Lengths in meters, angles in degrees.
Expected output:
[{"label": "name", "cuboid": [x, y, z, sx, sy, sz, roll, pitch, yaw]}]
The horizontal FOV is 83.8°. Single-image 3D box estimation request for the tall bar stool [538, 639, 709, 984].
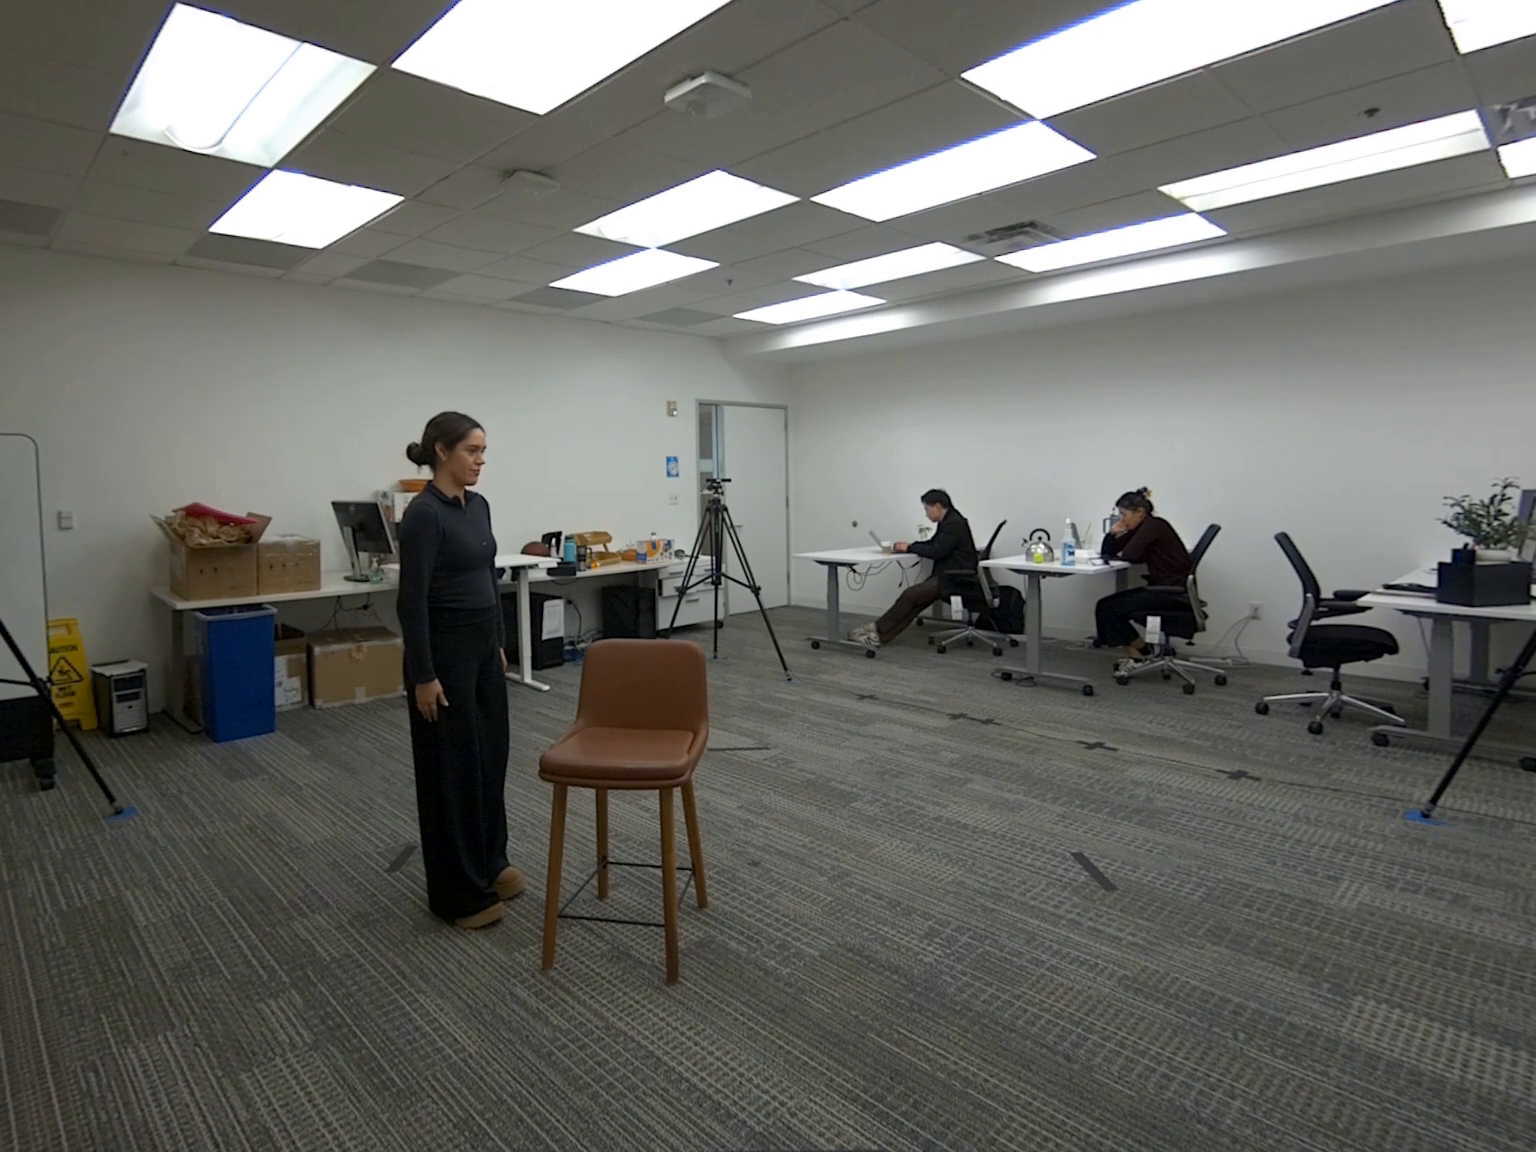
[{"label": "tall bar stool", "cuboid": [-0.424, 0.677, 2.605, 0.462, 0.887, 0.463, 0, 4, 12]}]
